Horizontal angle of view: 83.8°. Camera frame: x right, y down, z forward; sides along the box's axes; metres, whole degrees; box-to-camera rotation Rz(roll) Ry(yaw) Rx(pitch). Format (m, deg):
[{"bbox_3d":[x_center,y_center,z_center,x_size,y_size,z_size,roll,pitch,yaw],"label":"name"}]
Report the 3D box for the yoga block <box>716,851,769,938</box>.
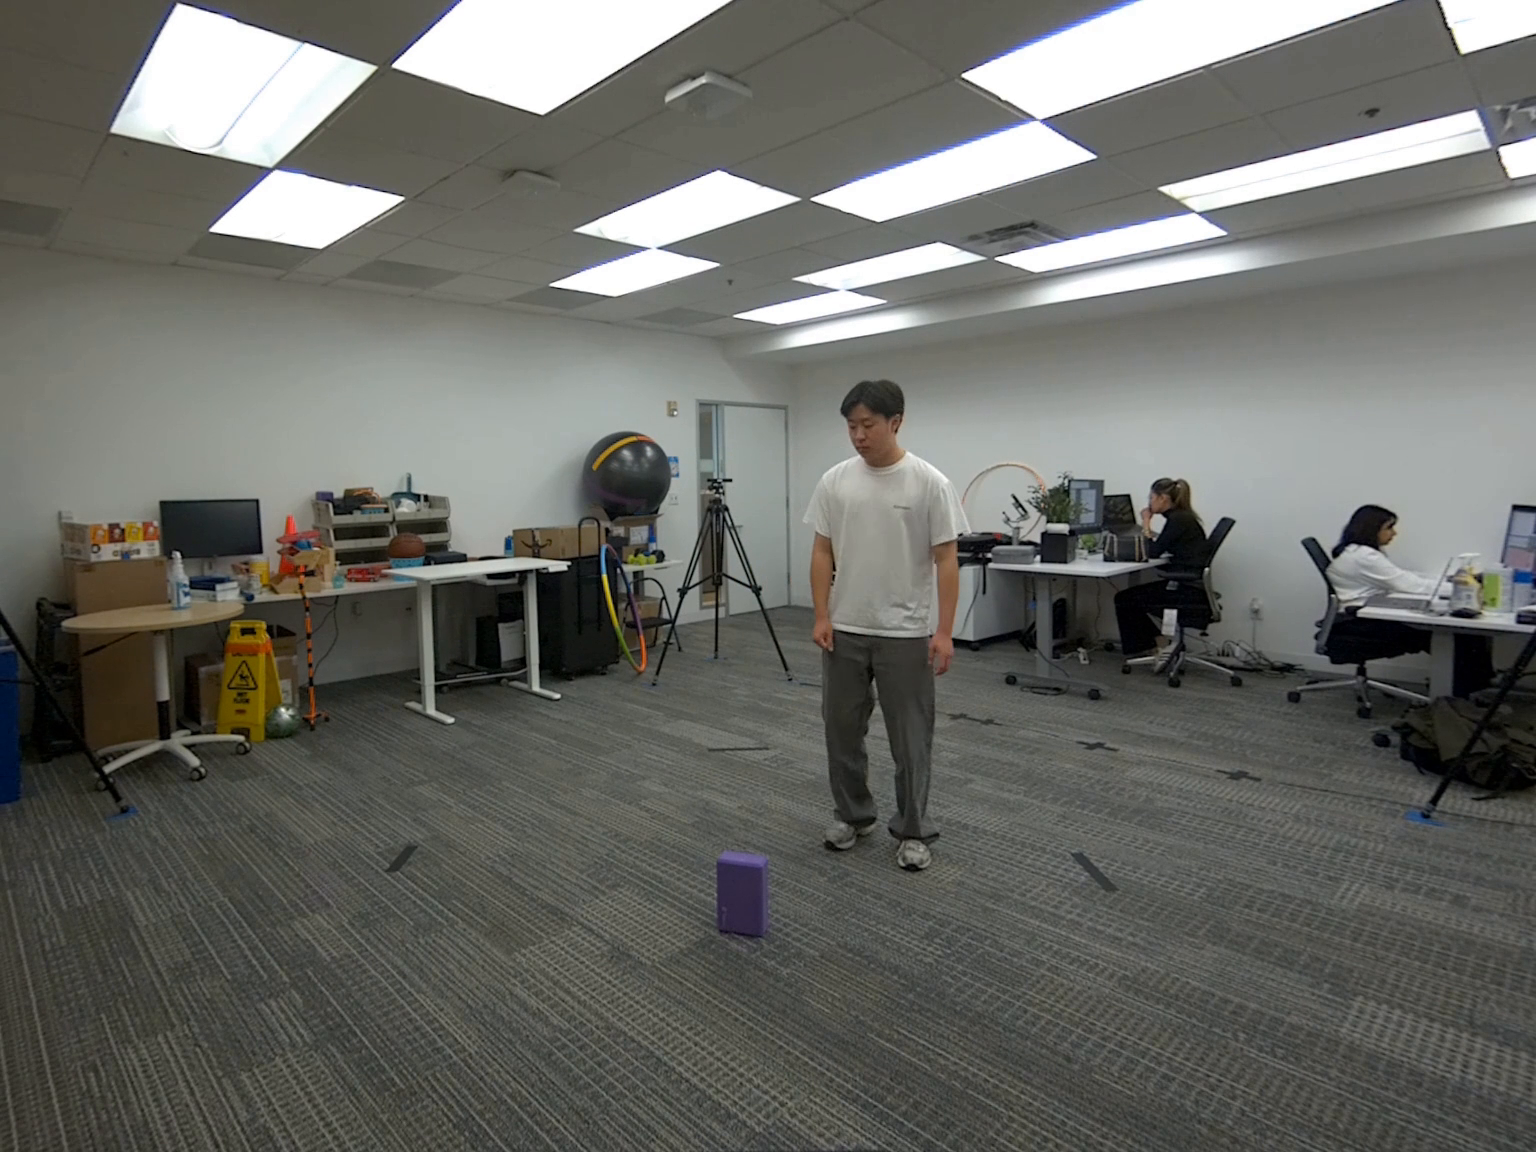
[{"bbox_3d":[-0.074,0.986,2.650,0.151,0.228,0.075,0,4,15],"label":"yoga block"}]
